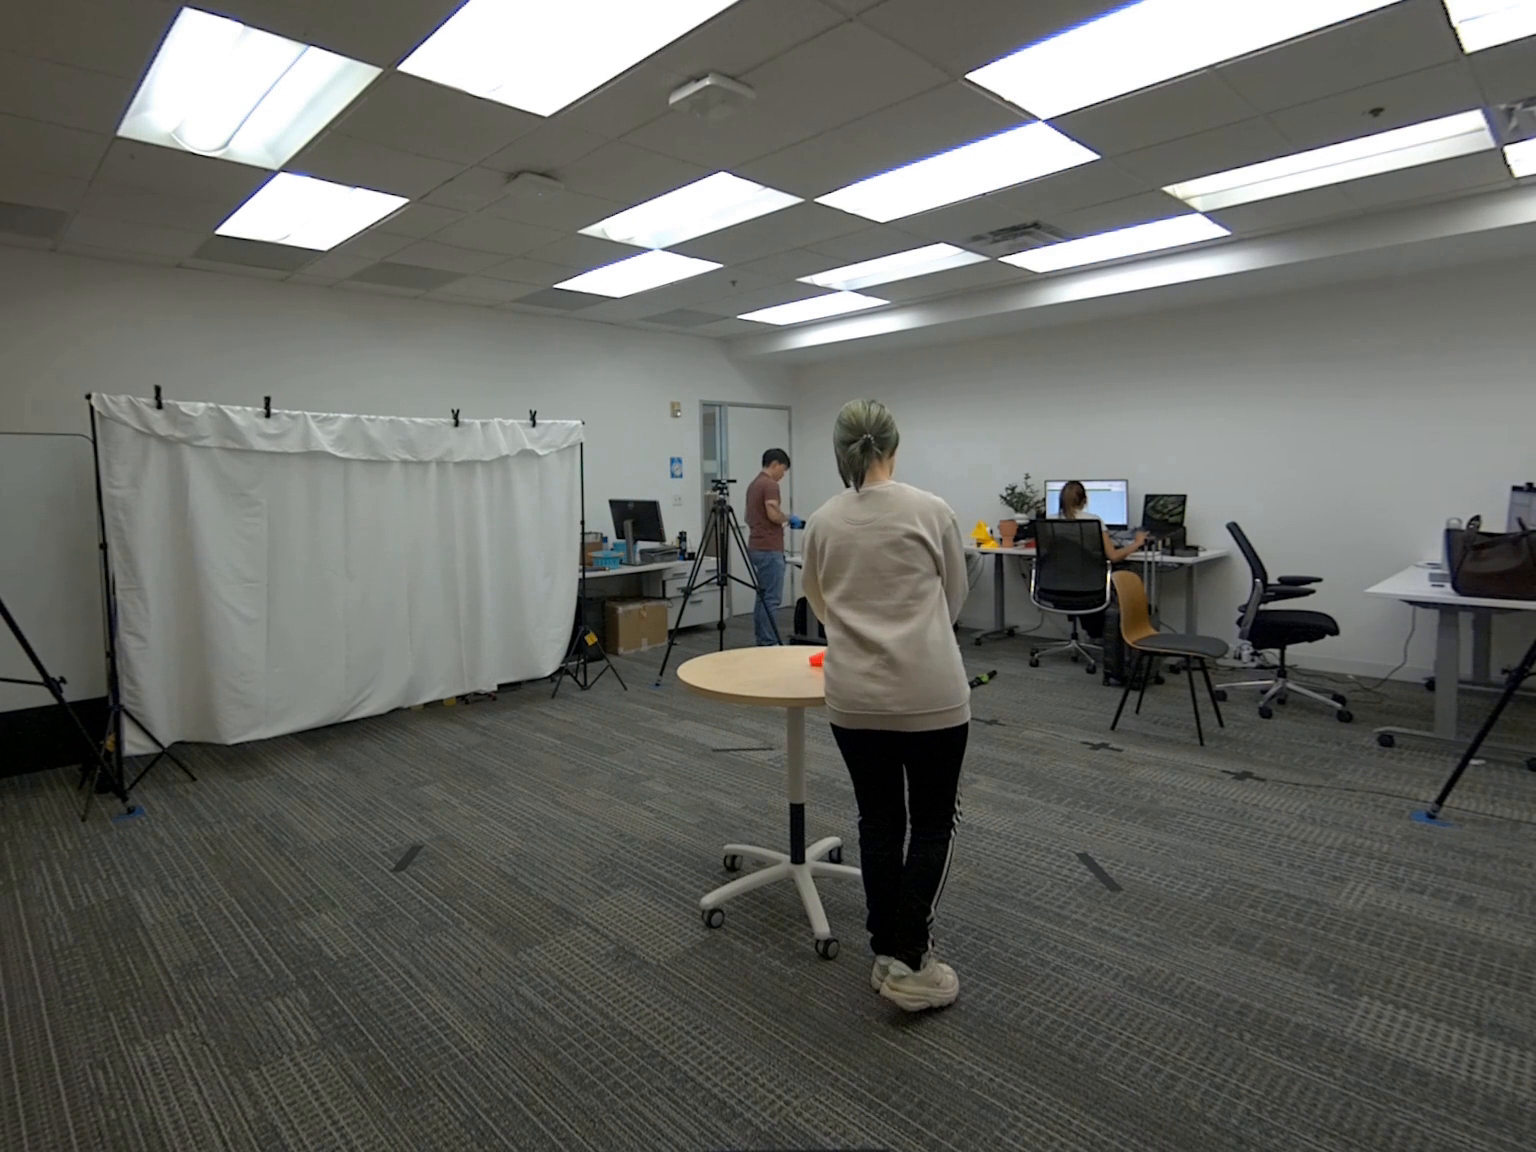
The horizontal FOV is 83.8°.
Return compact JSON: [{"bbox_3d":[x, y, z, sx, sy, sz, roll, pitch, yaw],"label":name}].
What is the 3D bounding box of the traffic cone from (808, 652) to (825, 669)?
[{"bbox_3d":[0.330,0.252,2.784,0.386,0.197,0.210,-12,33,9],"label":"traffic cone"}]
